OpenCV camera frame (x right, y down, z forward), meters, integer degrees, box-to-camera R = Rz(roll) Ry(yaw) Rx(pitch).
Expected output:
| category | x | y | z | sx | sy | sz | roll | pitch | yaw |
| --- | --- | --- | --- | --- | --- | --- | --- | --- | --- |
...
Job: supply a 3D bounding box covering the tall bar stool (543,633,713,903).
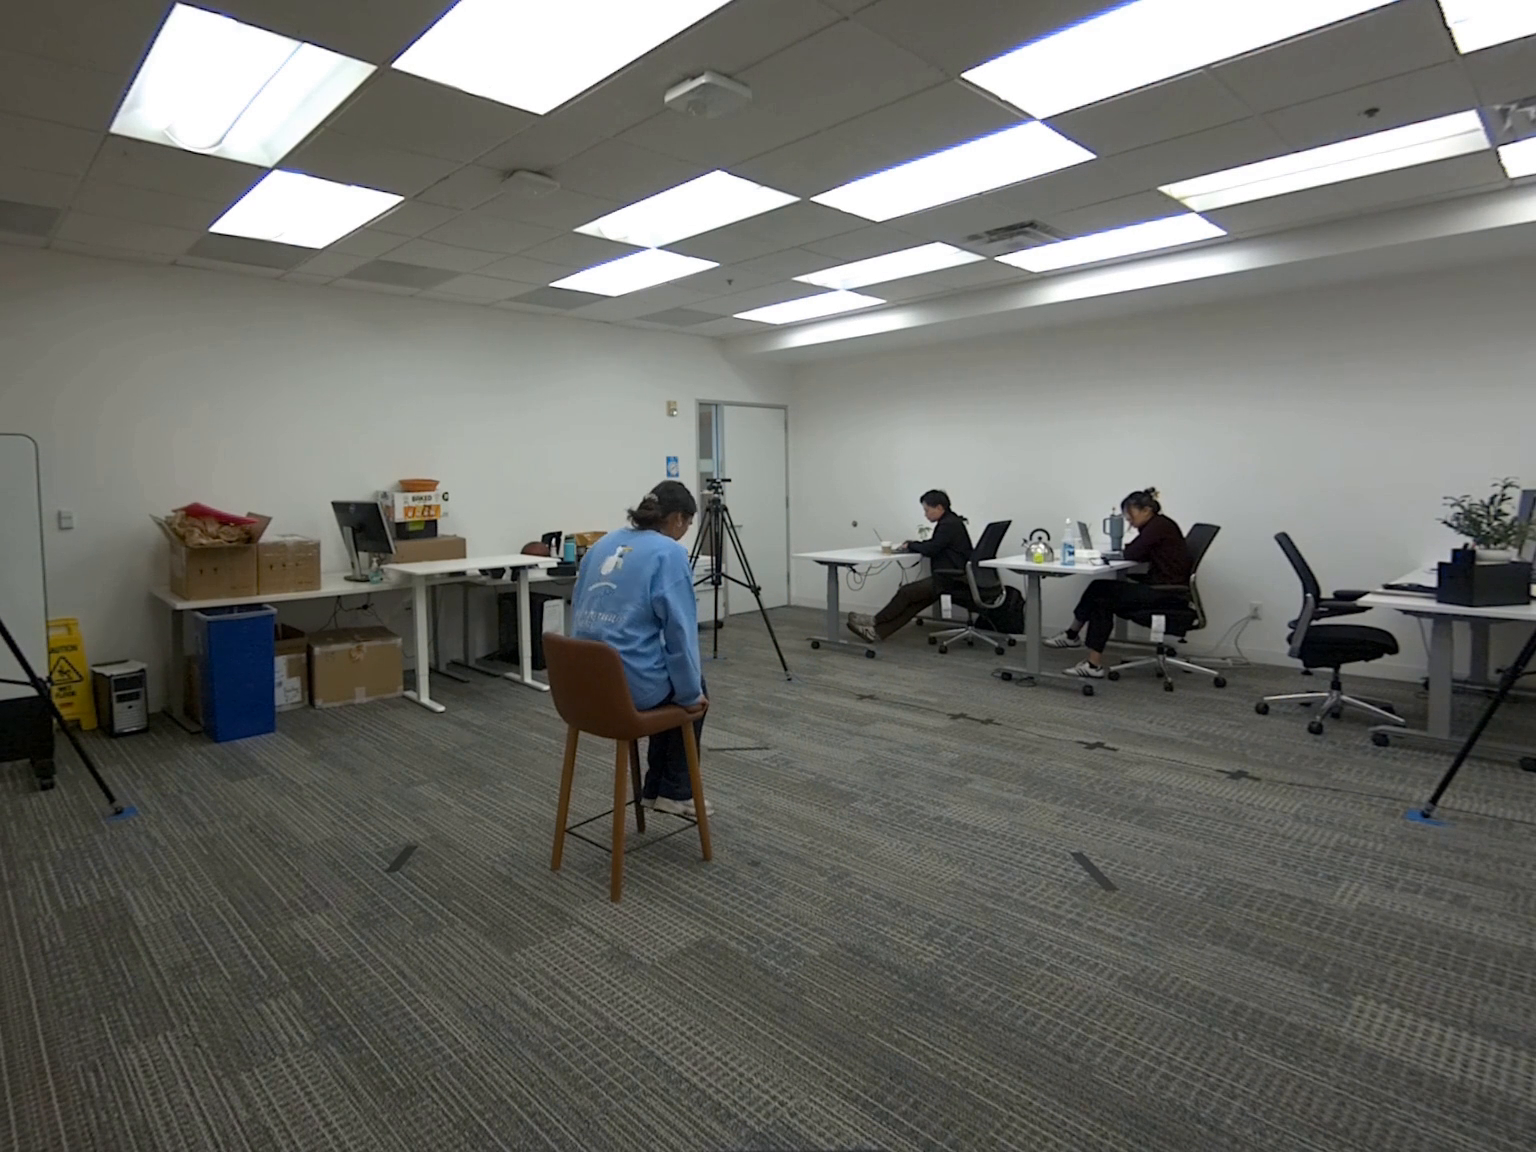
| category | x | y | z | sx | sy | sz | roll | pitch | yaw |
| --- | --- | --- | --- | --- | --- | --- | --- | --- | --- |
| tall bar stool | -0.523 | 0.622 | 3.089 | 0.470 | 0.885 | 0.456 | 2 | 7 | 43 |
